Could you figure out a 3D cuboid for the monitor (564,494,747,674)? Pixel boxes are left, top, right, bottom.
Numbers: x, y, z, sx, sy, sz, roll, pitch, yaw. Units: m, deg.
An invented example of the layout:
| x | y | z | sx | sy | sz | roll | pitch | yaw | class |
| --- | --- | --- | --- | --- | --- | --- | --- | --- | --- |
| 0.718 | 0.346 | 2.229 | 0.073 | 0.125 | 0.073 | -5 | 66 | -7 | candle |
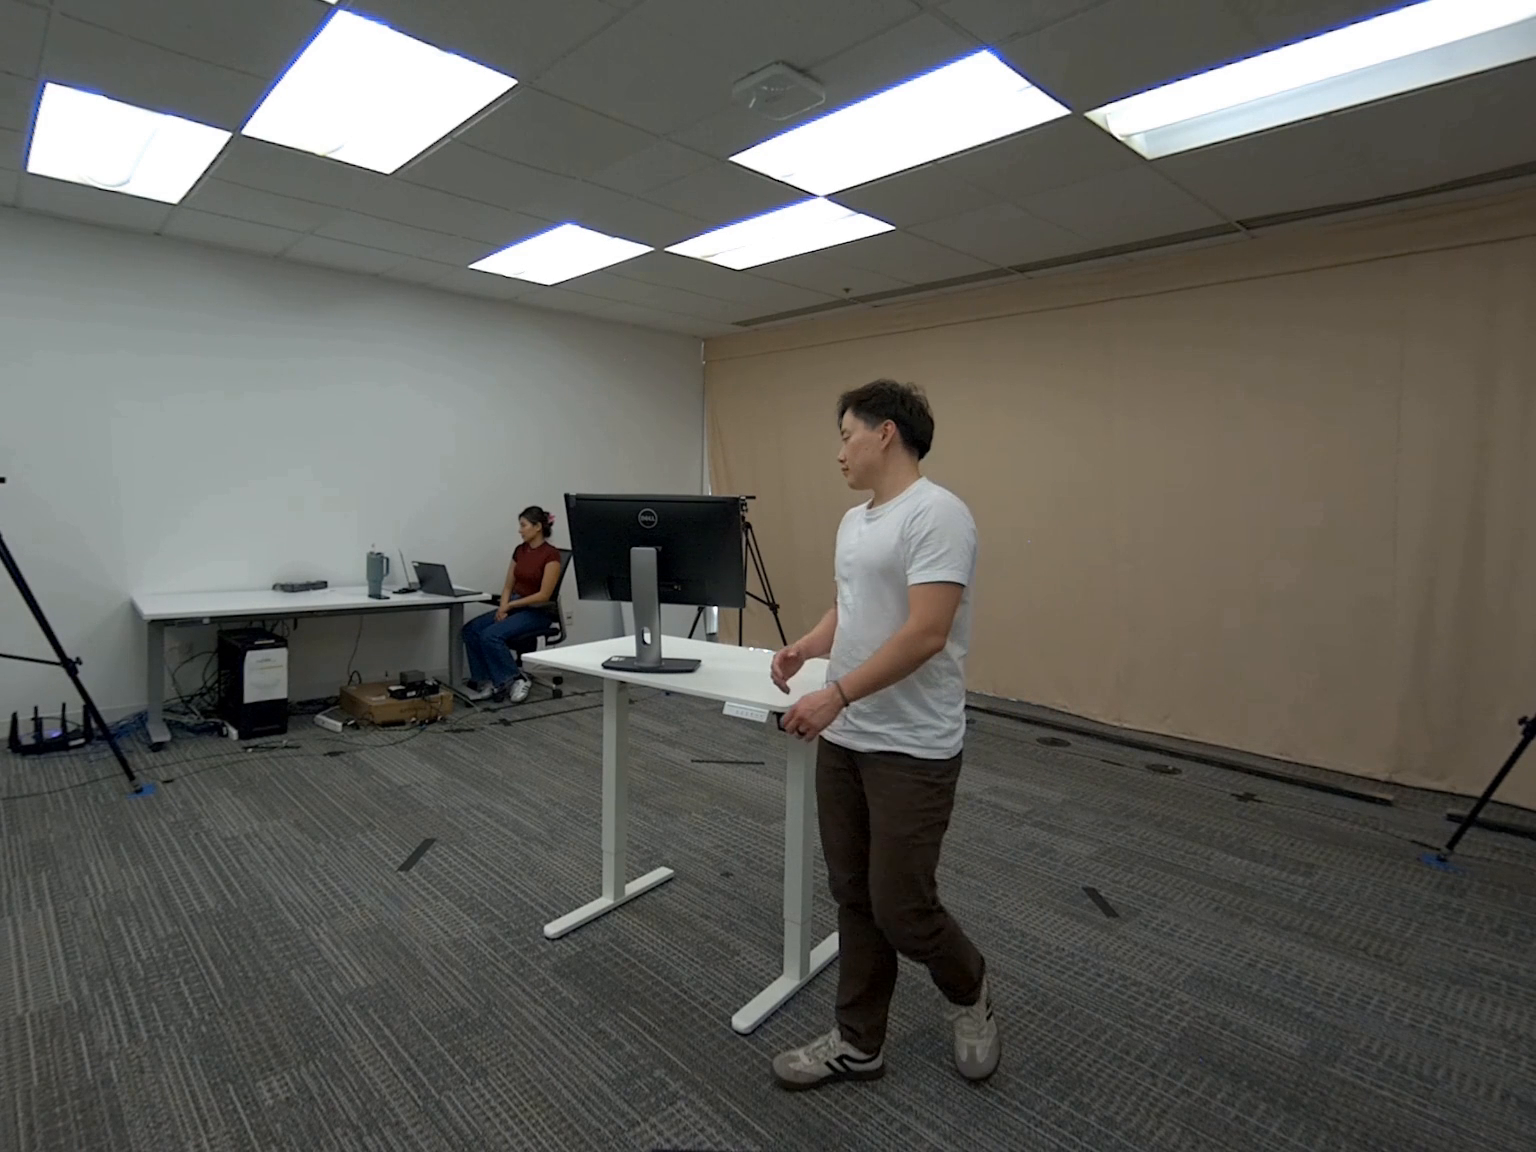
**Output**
| x | y | z | sx | sy | sz | roll | pitch | yaw | class |
| --- | --- | --- | --- | --- | --- | --- | --- | --- | --- |
| -0.349 | 0.023 | 2.476 | 0.544 | 0.520 | 0.186 | 2 | 7 | 11 | monitor |
